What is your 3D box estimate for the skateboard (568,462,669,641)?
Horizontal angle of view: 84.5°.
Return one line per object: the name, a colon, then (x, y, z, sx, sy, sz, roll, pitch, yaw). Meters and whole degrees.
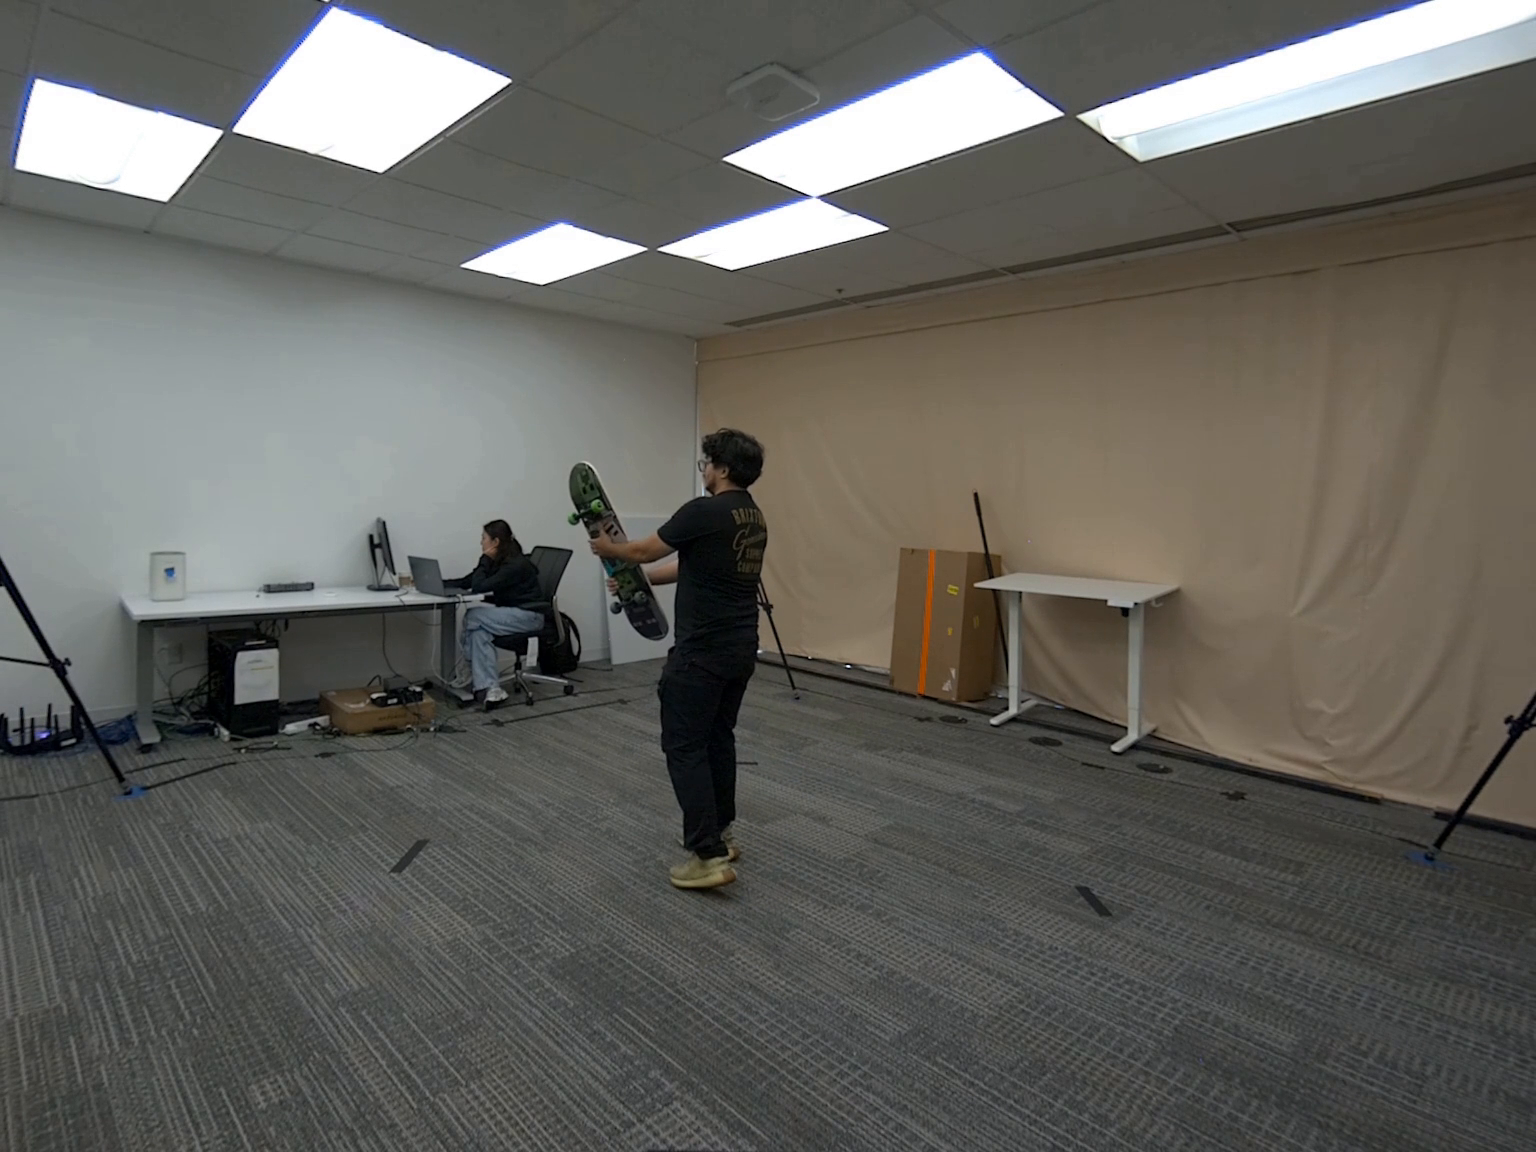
skateboard: (-0.629, -0.079, 3.377, 0.196, 0.783, 0.109, -23, 3, 38)
